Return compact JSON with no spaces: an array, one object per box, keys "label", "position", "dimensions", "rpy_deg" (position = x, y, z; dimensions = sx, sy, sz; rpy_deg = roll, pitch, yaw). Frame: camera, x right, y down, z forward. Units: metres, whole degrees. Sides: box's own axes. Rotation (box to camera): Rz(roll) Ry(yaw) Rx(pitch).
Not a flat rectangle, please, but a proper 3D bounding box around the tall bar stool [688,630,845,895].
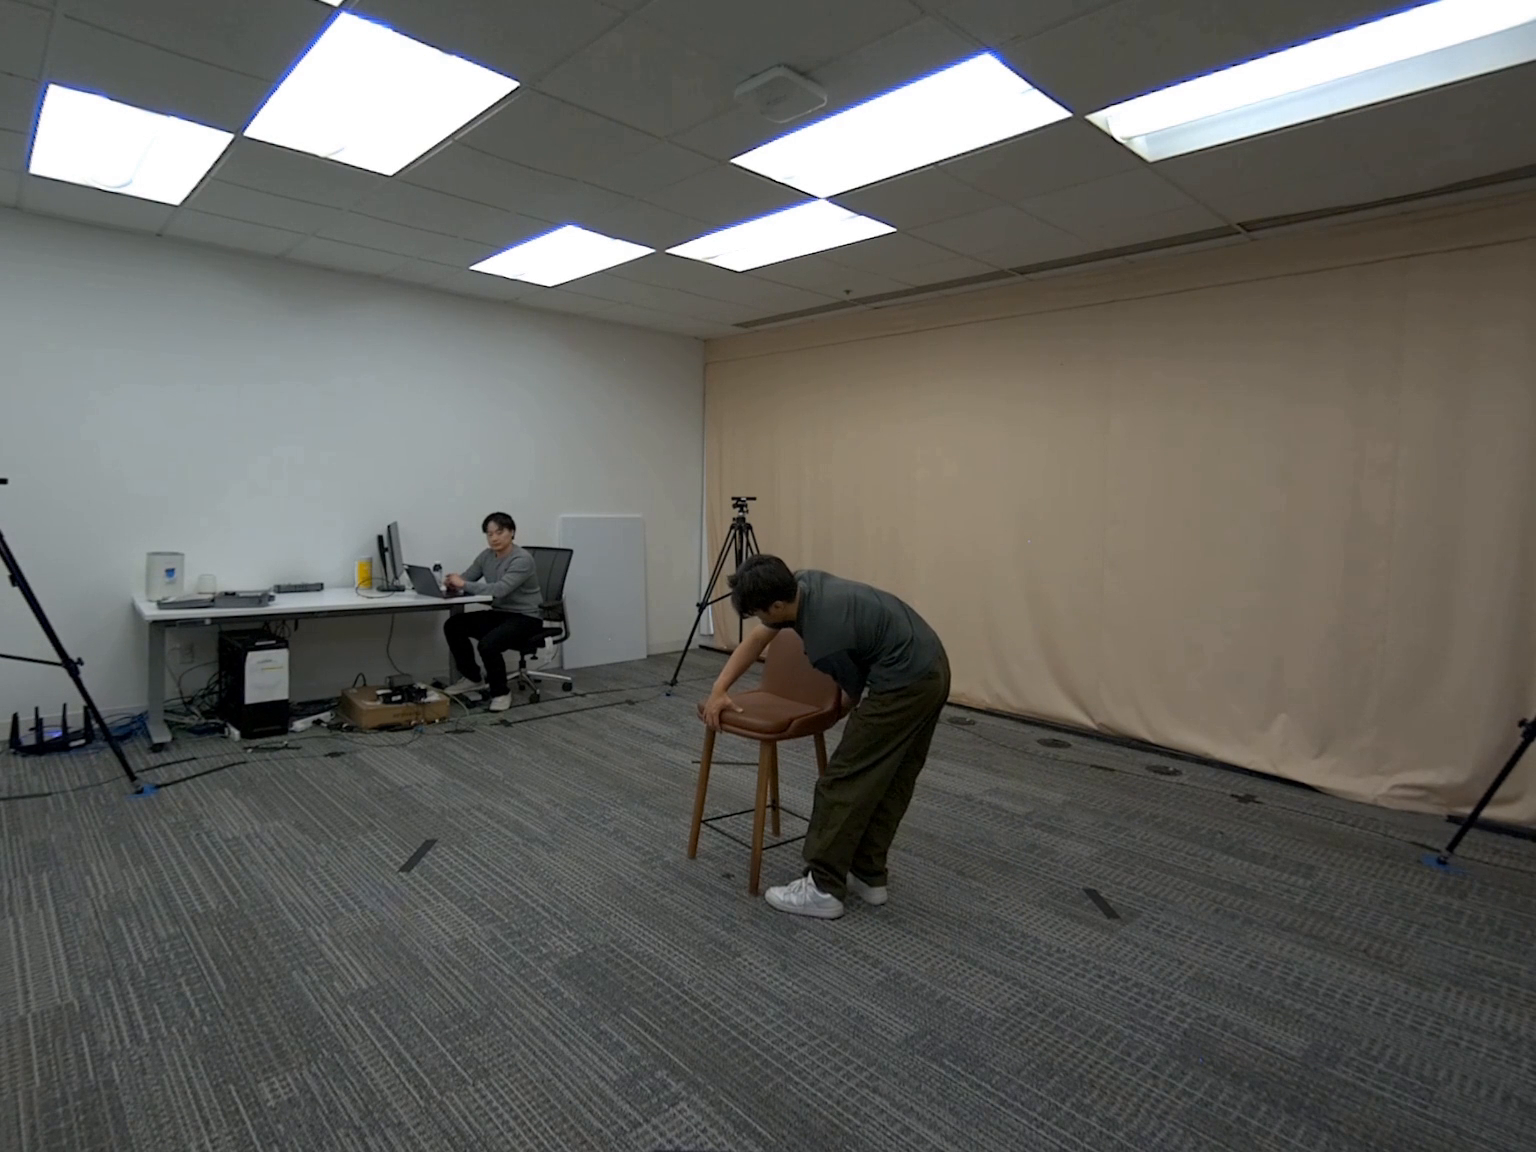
[{"label":"tall bar stool","position":[-0.010,0.663,3.224],"dimensions":[0.457,0.888,0.468],"rpy_deg":[1,3,-39]}]
